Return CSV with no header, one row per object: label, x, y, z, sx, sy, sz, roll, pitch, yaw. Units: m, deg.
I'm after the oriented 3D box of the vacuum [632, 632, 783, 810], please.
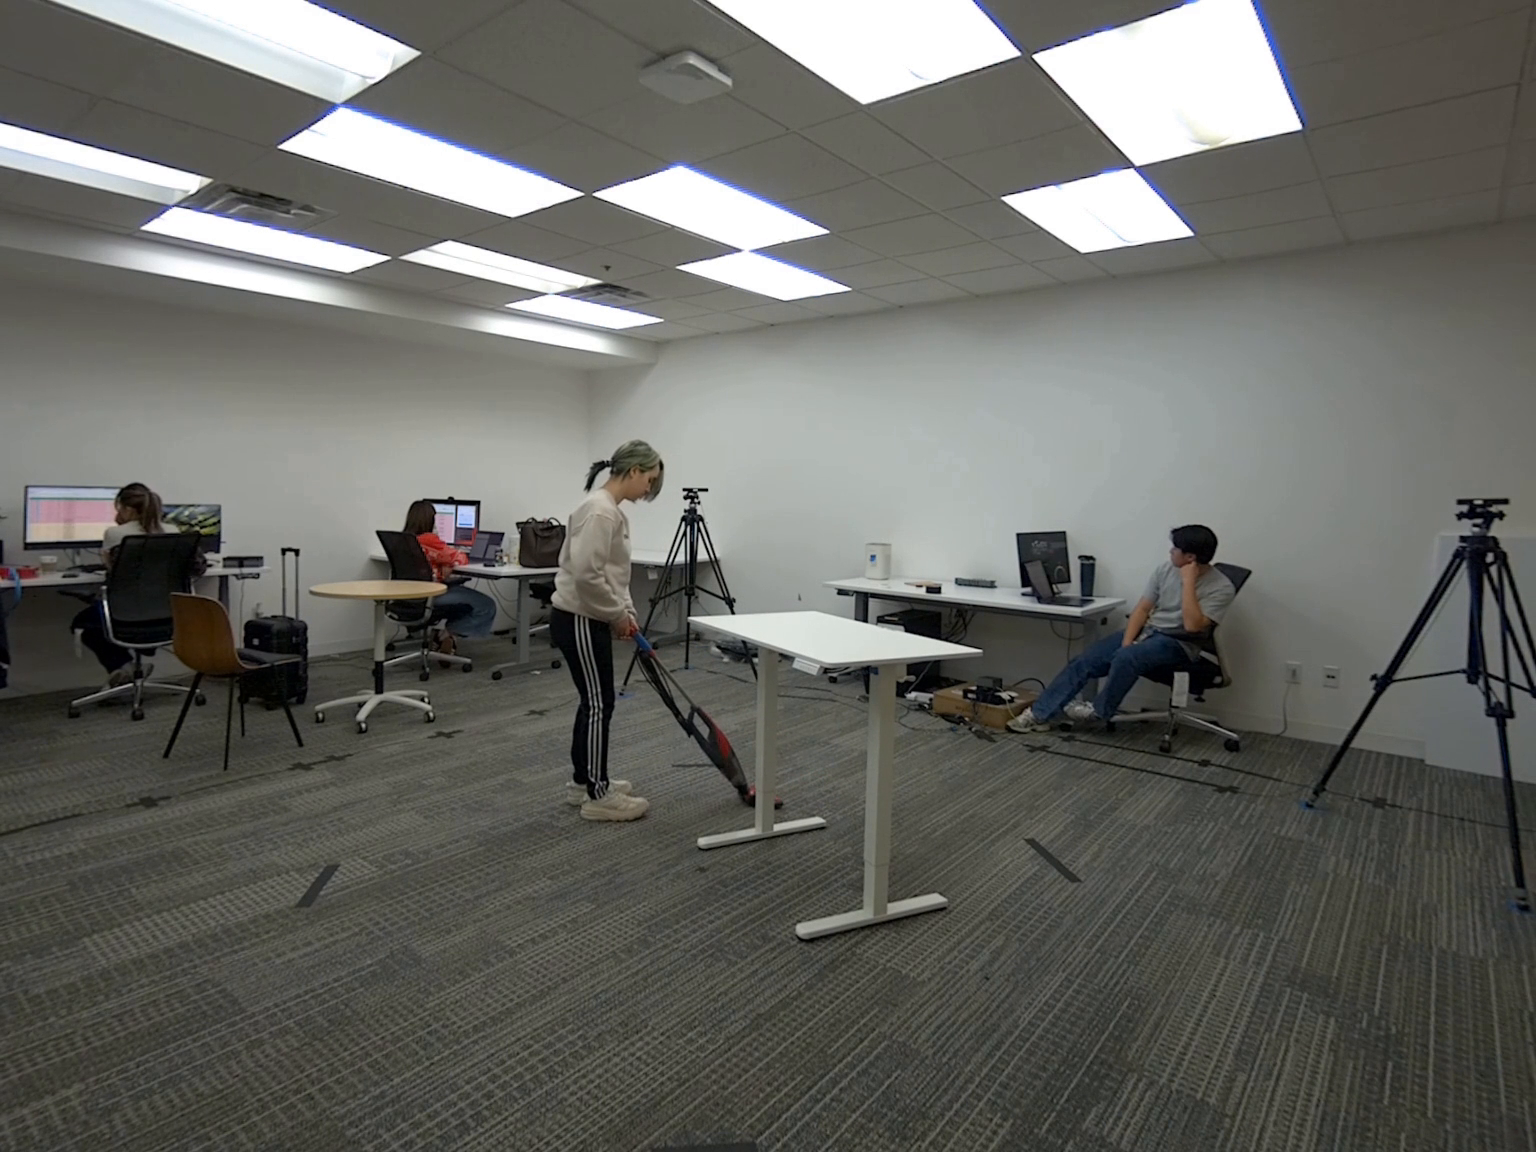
vacuum,-0.354,0.610,3.691,0.144,1.027,0.258,-47,17,-25
